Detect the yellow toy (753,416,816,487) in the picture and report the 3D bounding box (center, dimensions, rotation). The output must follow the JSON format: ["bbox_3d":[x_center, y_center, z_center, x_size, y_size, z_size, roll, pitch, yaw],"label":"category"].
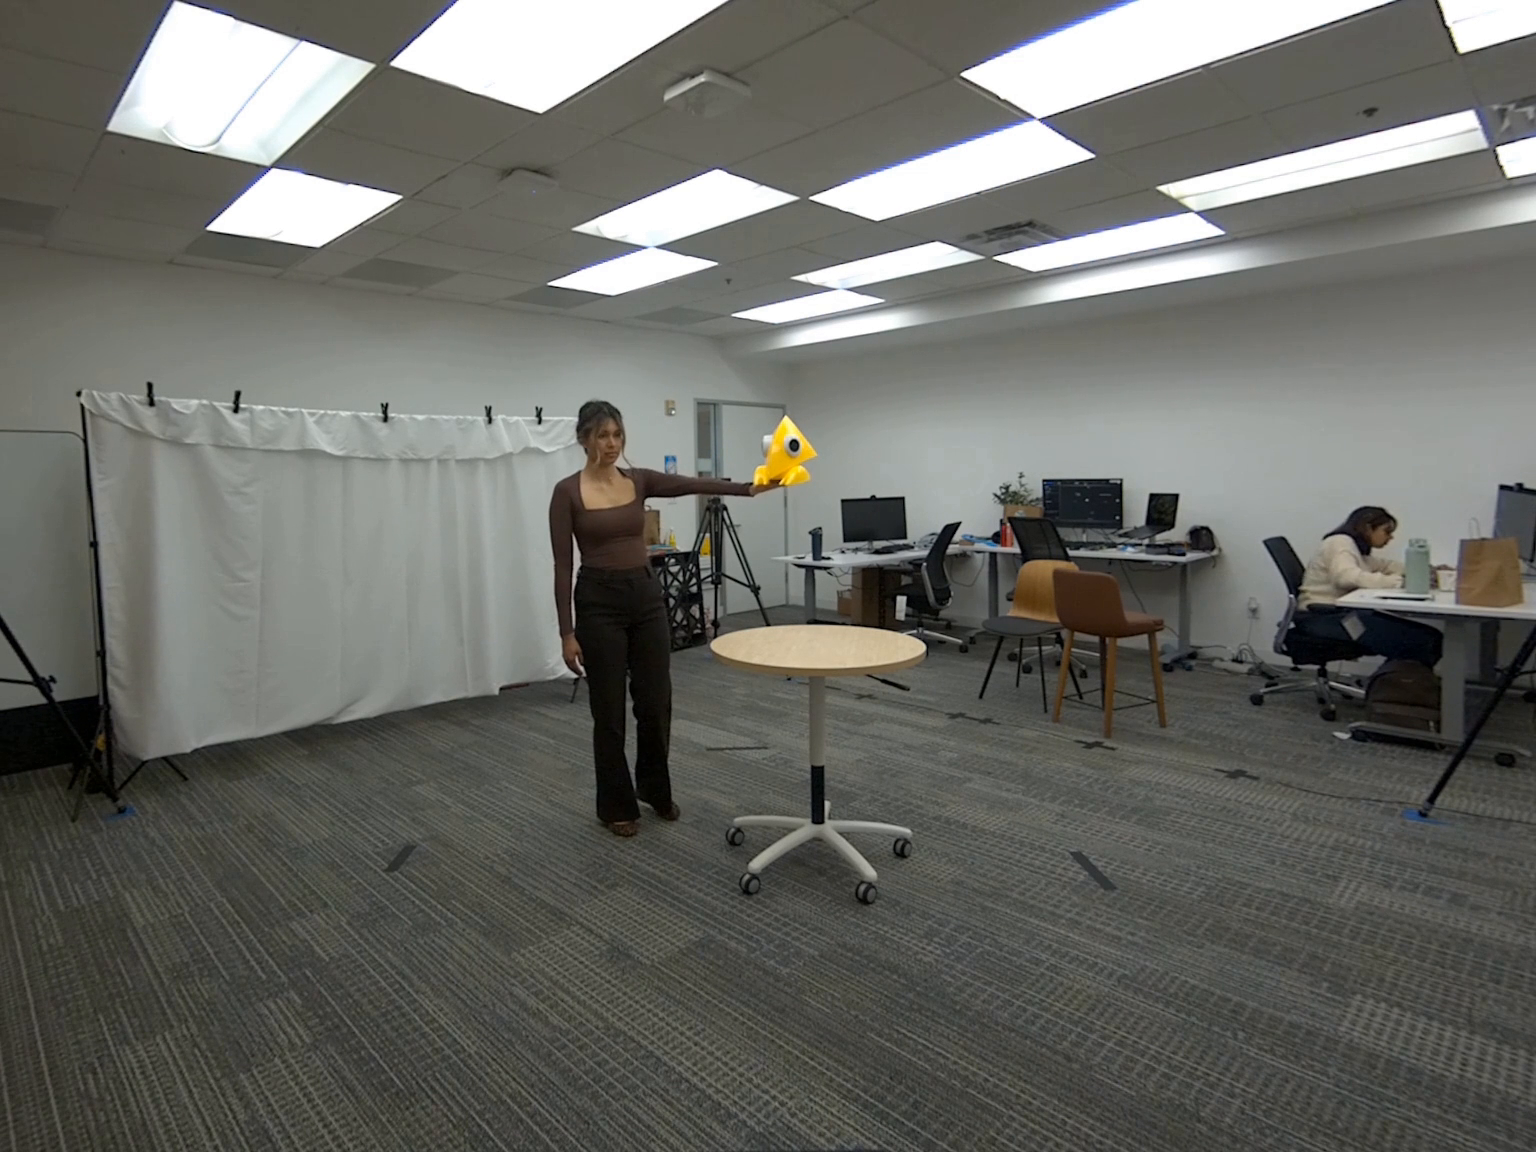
[{"bbox_3d":[0.048,-0.460,3.099,0.210,0.228,0.190,4,16,31],"label":"yellow toy"}]
